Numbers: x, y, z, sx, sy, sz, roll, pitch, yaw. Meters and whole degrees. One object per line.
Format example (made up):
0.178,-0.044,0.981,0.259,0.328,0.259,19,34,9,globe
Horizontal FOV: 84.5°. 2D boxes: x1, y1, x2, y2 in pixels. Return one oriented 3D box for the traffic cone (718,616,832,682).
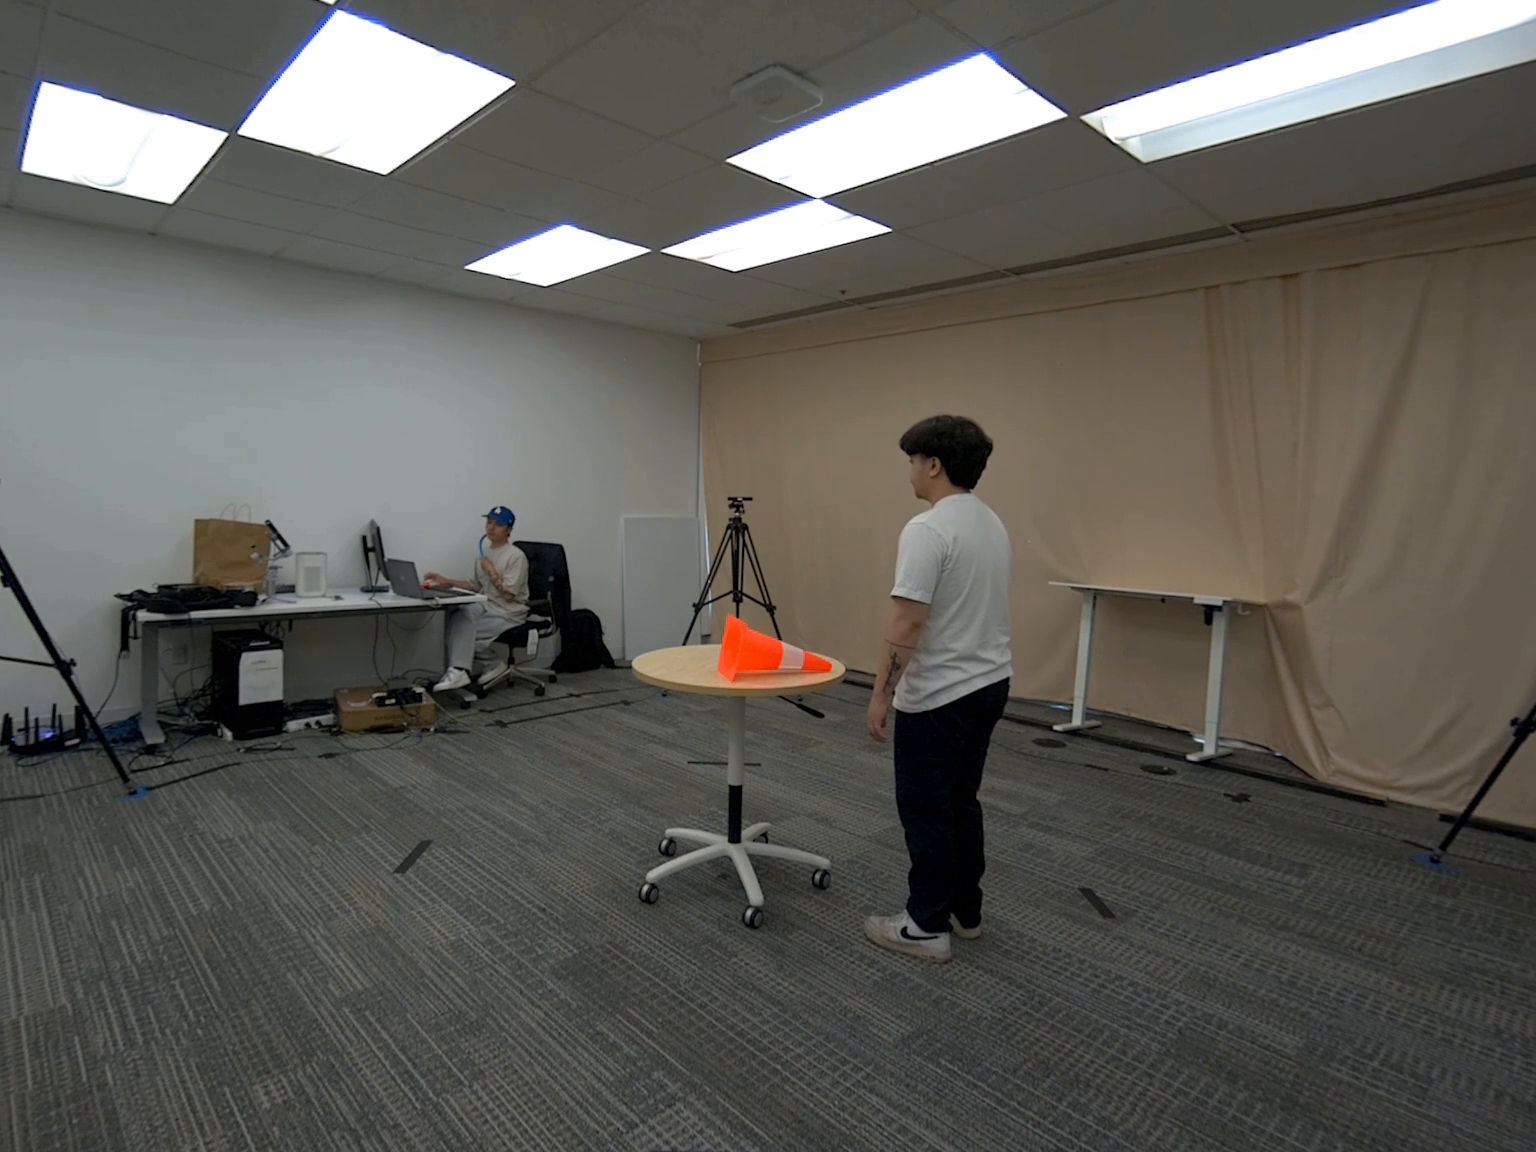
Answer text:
0.047,0.282,2.886,0.377,0.204,0.208,14,-6,-20,traffic cone
